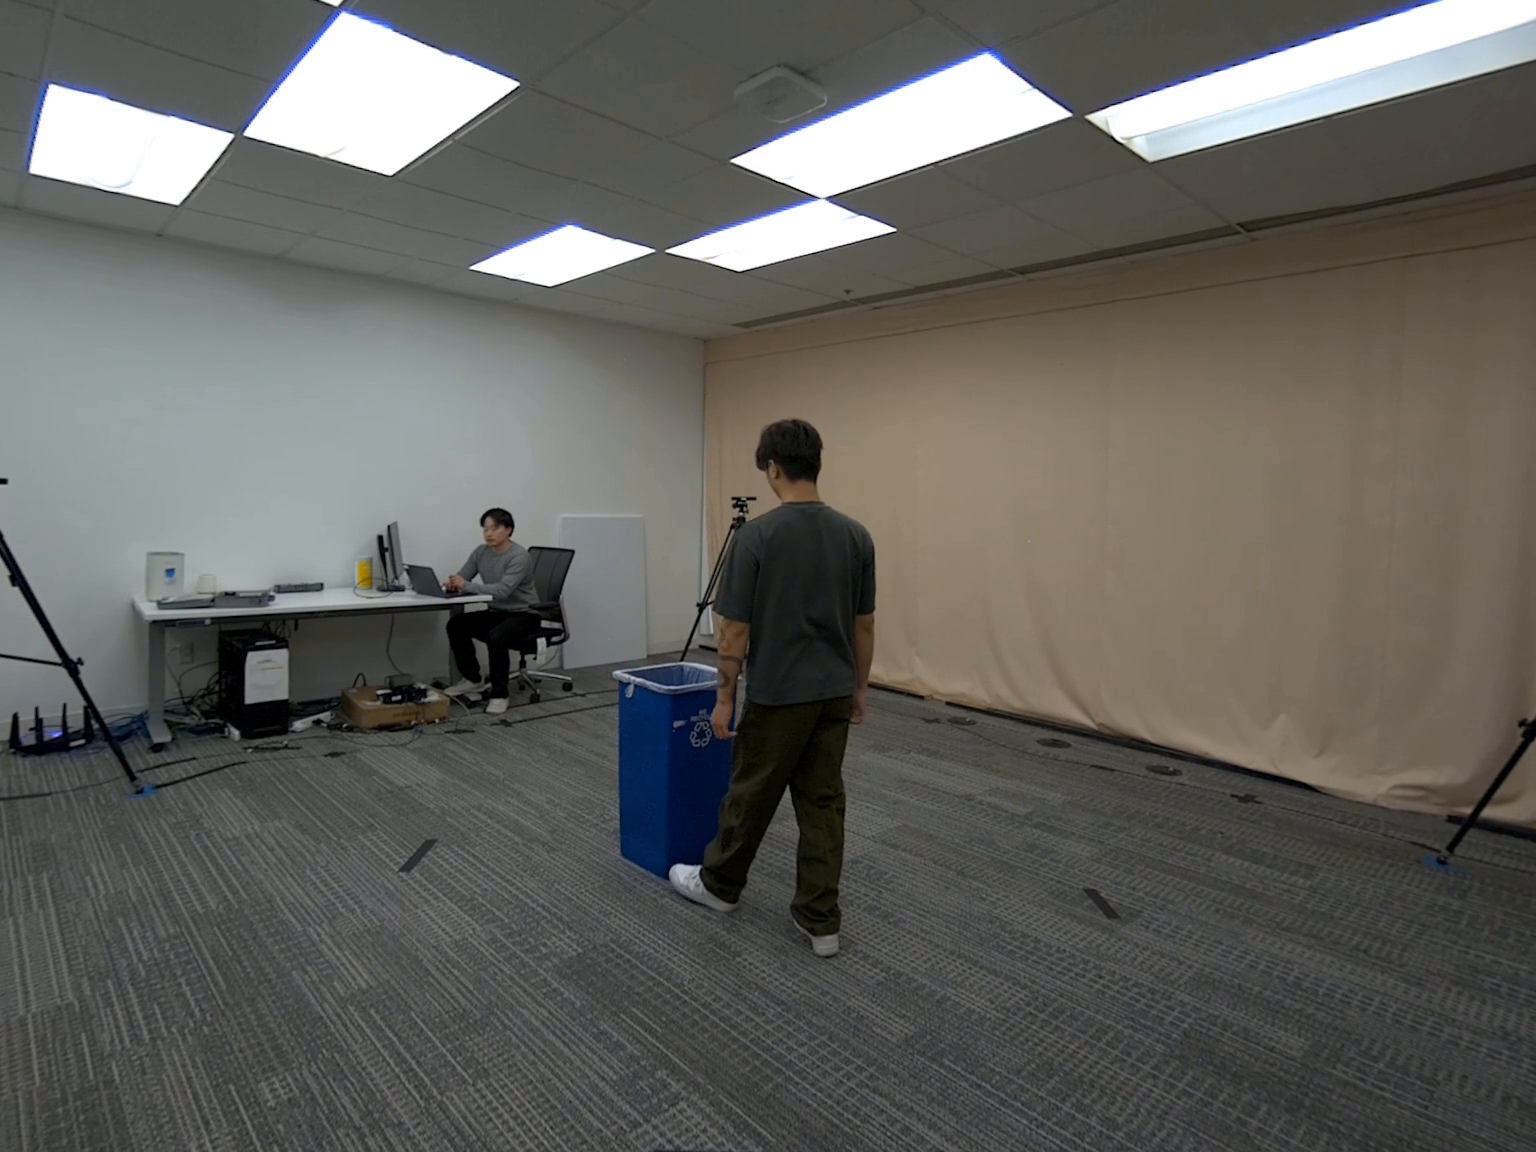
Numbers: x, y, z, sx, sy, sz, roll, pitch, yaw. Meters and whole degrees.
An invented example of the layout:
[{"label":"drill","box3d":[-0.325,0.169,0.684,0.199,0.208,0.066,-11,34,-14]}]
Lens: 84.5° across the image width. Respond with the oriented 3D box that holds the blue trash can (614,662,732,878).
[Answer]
[{"label":"blue trash can","box3d":[-0.373,0.731,3.247,0.369,0.712,0.384,-1,5,-44]}]
